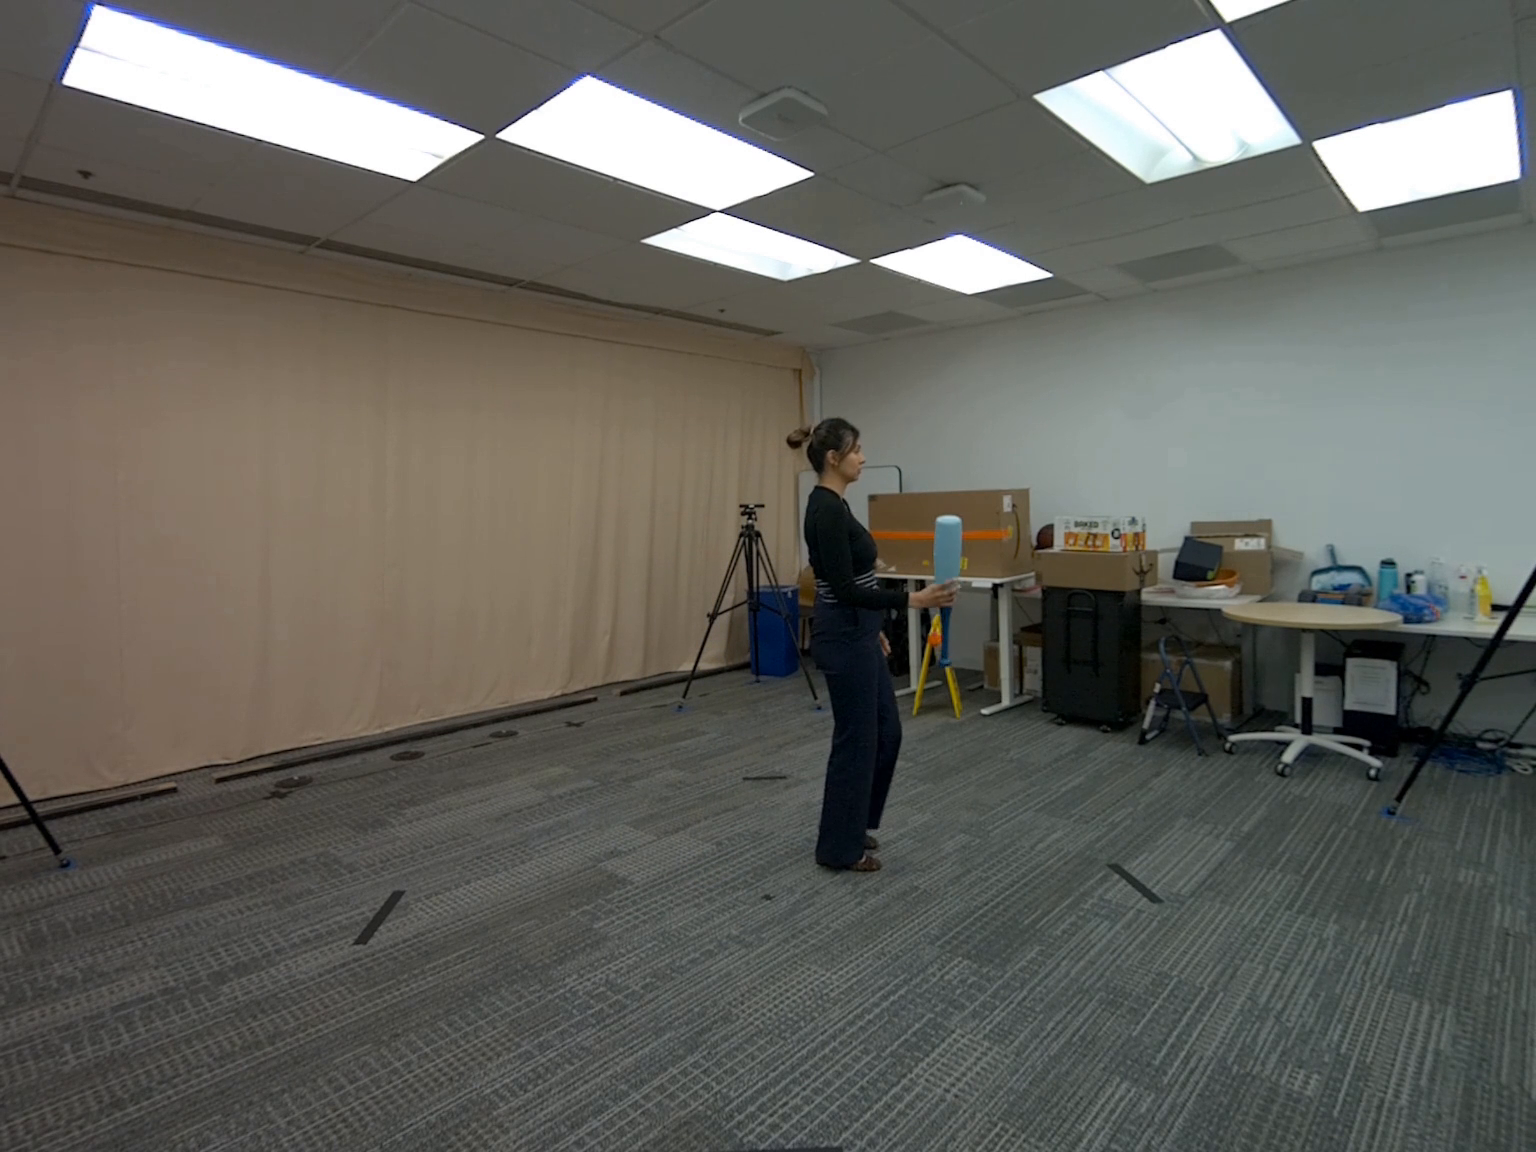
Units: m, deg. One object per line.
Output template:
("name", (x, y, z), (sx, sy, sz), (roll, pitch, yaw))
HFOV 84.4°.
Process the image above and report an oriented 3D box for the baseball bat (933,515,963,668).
("baseball bat", (0.614, 0.044, 2.905), (0.089, 0.537, 0.090), (-2, 18, -1))
